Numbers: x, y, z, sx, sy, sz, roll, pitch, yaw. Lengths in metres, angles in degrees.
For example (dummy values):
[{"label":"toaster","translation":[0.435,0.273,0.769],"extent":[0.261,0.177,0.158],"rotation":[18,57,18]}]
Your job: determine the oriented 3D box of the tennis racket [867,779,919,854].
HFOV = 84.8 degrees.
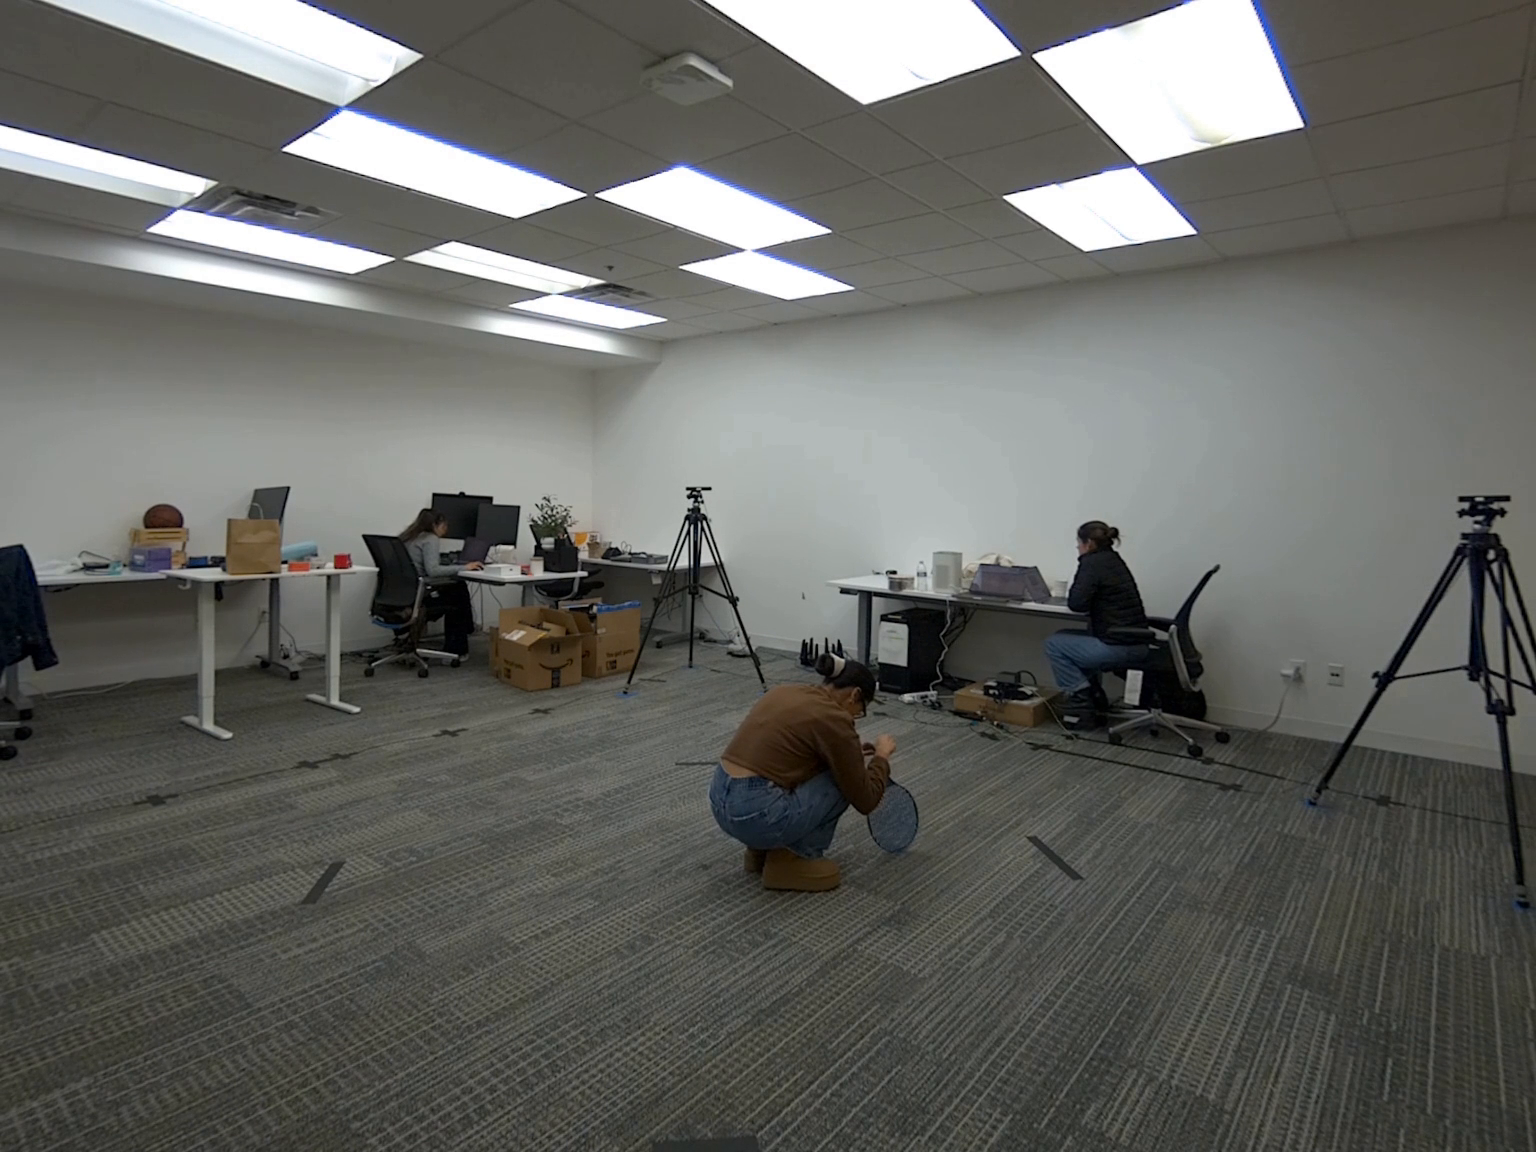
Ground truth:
[{"label":"tennis racket","translation":[0.453,0.858,3.272],"extent":[0.212,0.429,0.032],"rotation":[-22,6,-15]}]
